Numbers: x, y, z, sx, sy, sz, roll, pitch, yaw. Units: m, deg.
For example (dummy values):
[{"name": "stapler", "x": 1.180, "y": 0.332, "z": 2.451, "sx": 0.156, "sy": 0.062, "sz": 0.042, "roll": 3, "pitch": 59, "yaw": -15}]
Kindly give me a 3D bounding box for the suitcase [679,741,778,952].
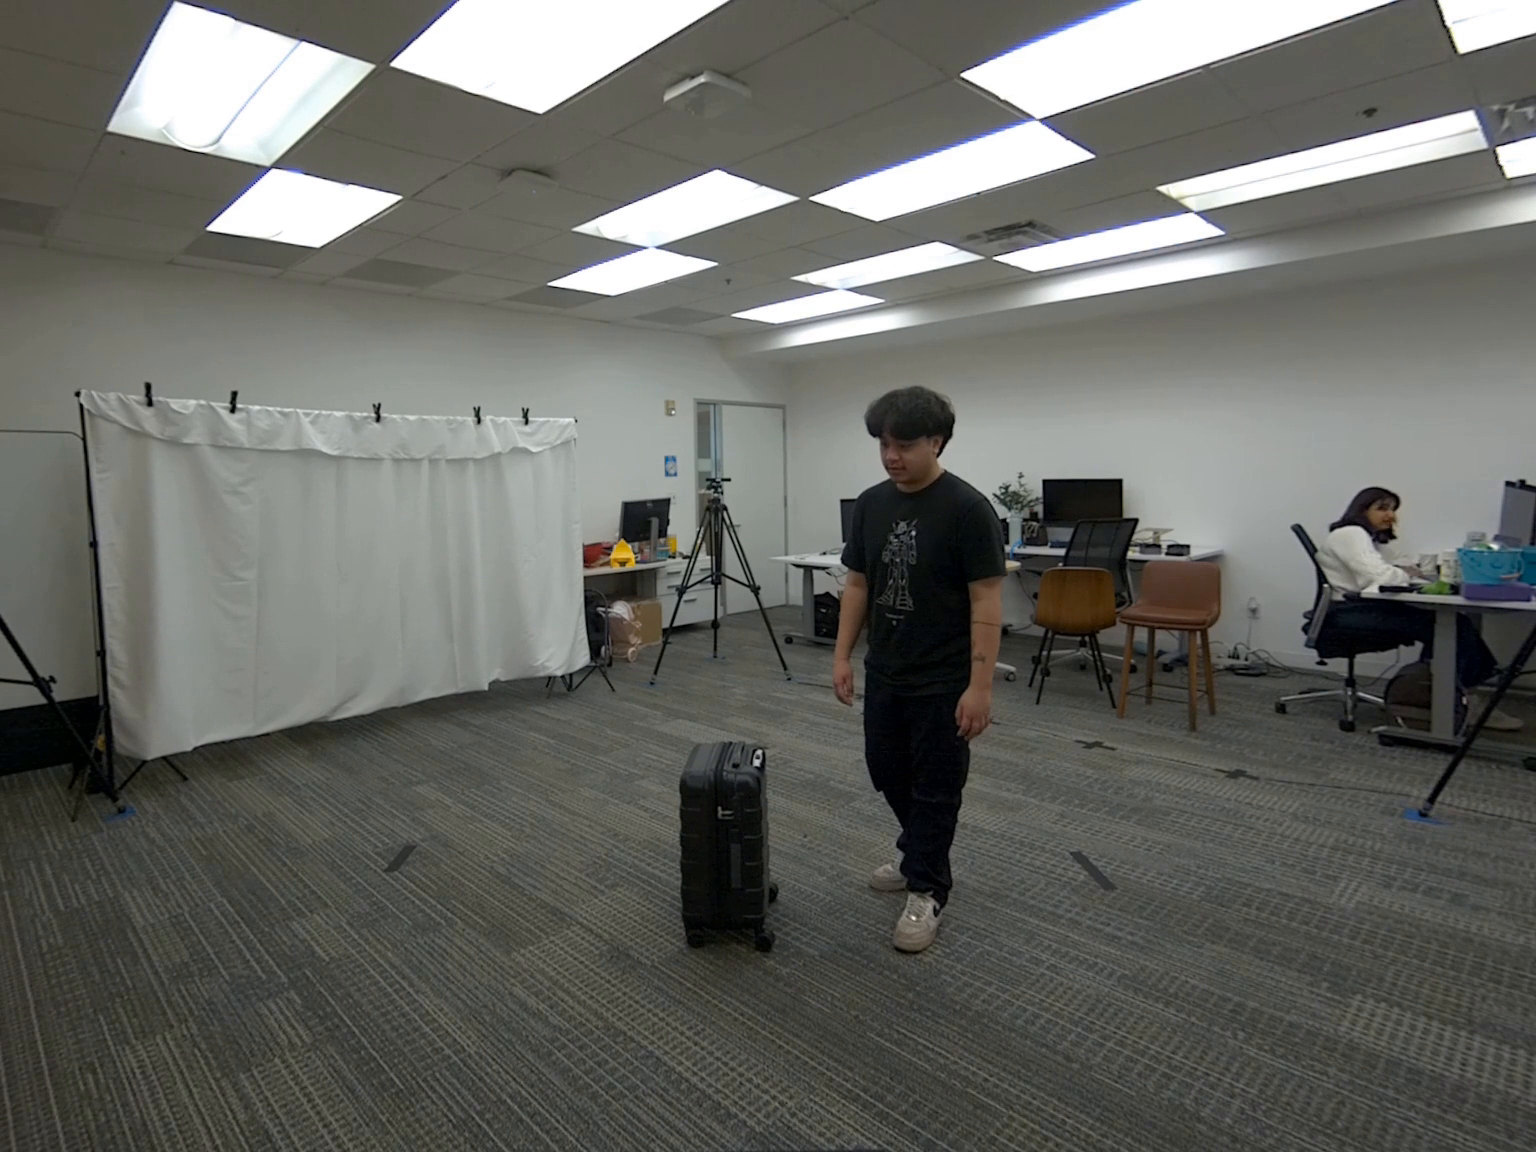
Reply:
[{"name": "suitcase", "x": -0.114, "y": 0.815, "z": 2.676, "sx": 0.249, "sy": 0.547, "sz": 0.376, "roll": -3, "pitch": 5, "yaw": 3}]
